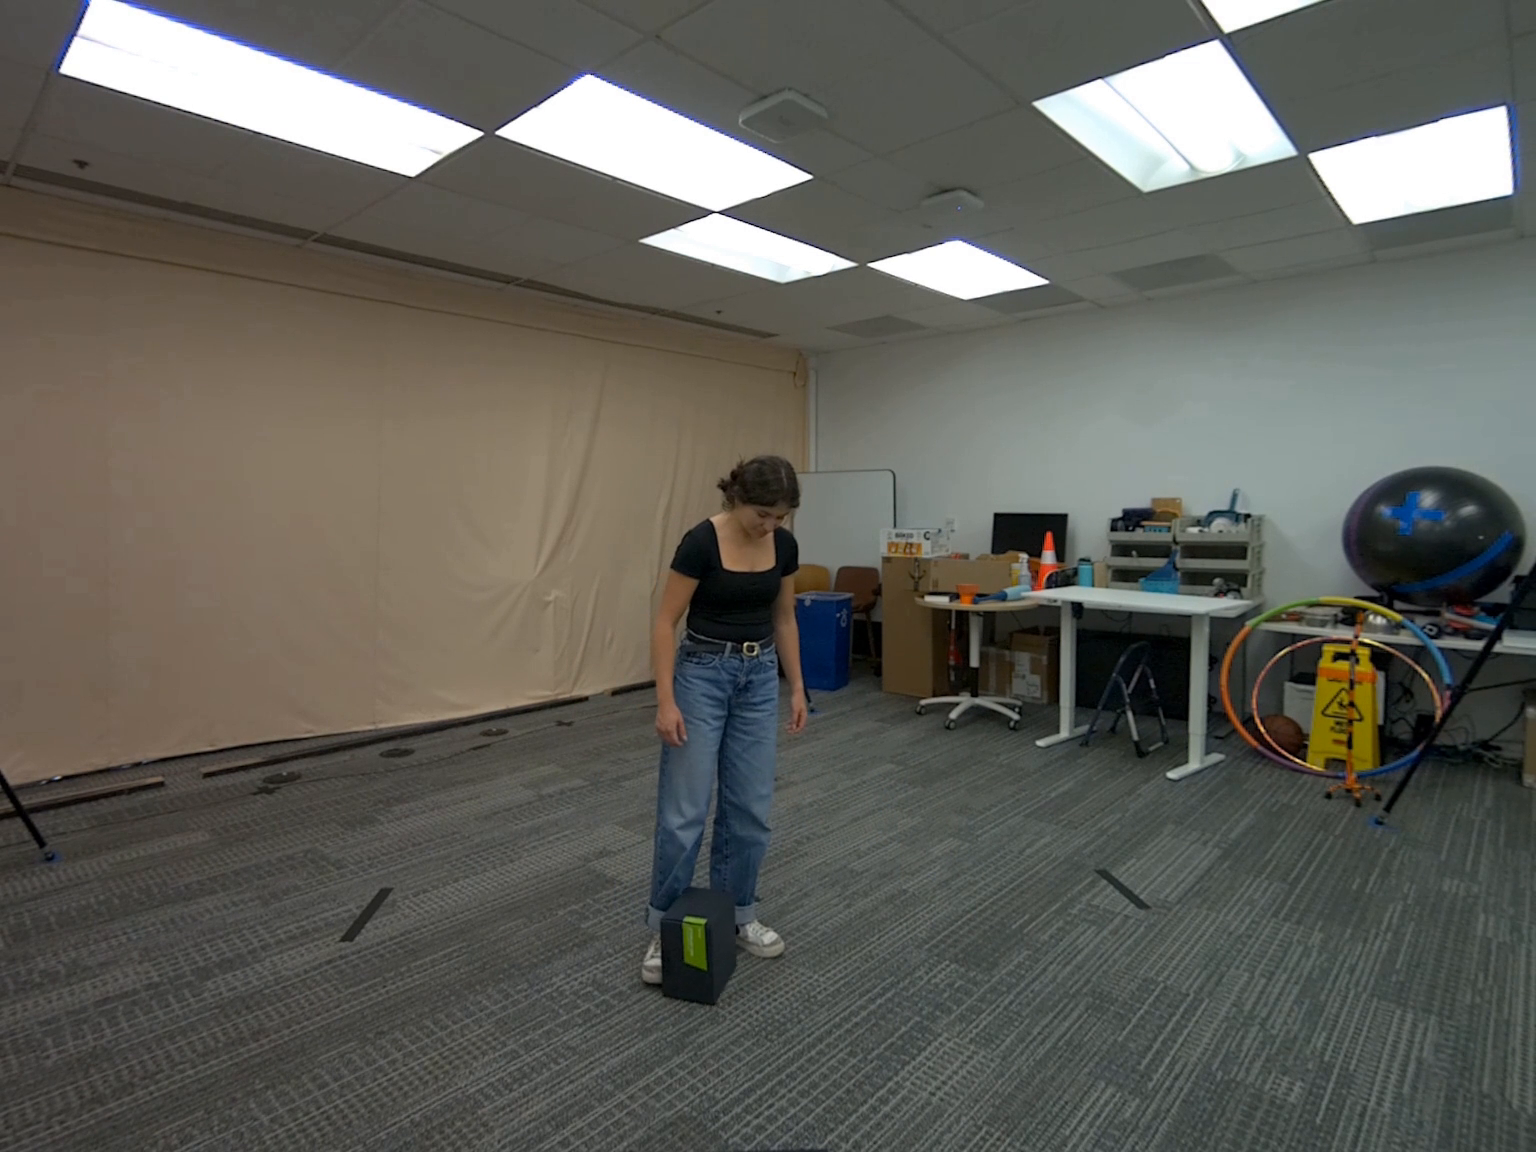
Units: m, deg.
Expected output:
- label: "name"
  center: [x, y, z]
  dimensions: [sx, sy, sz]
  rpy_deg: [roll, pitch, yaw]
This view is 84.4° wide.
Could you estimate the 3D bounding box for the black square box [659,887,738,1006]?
- label: "black square box"
  center: [-0.183, 1.068, 2.452]
  dimensions: [0.159, 0.227, 0.213]
  rpy_deg: [0, 4, 18]
